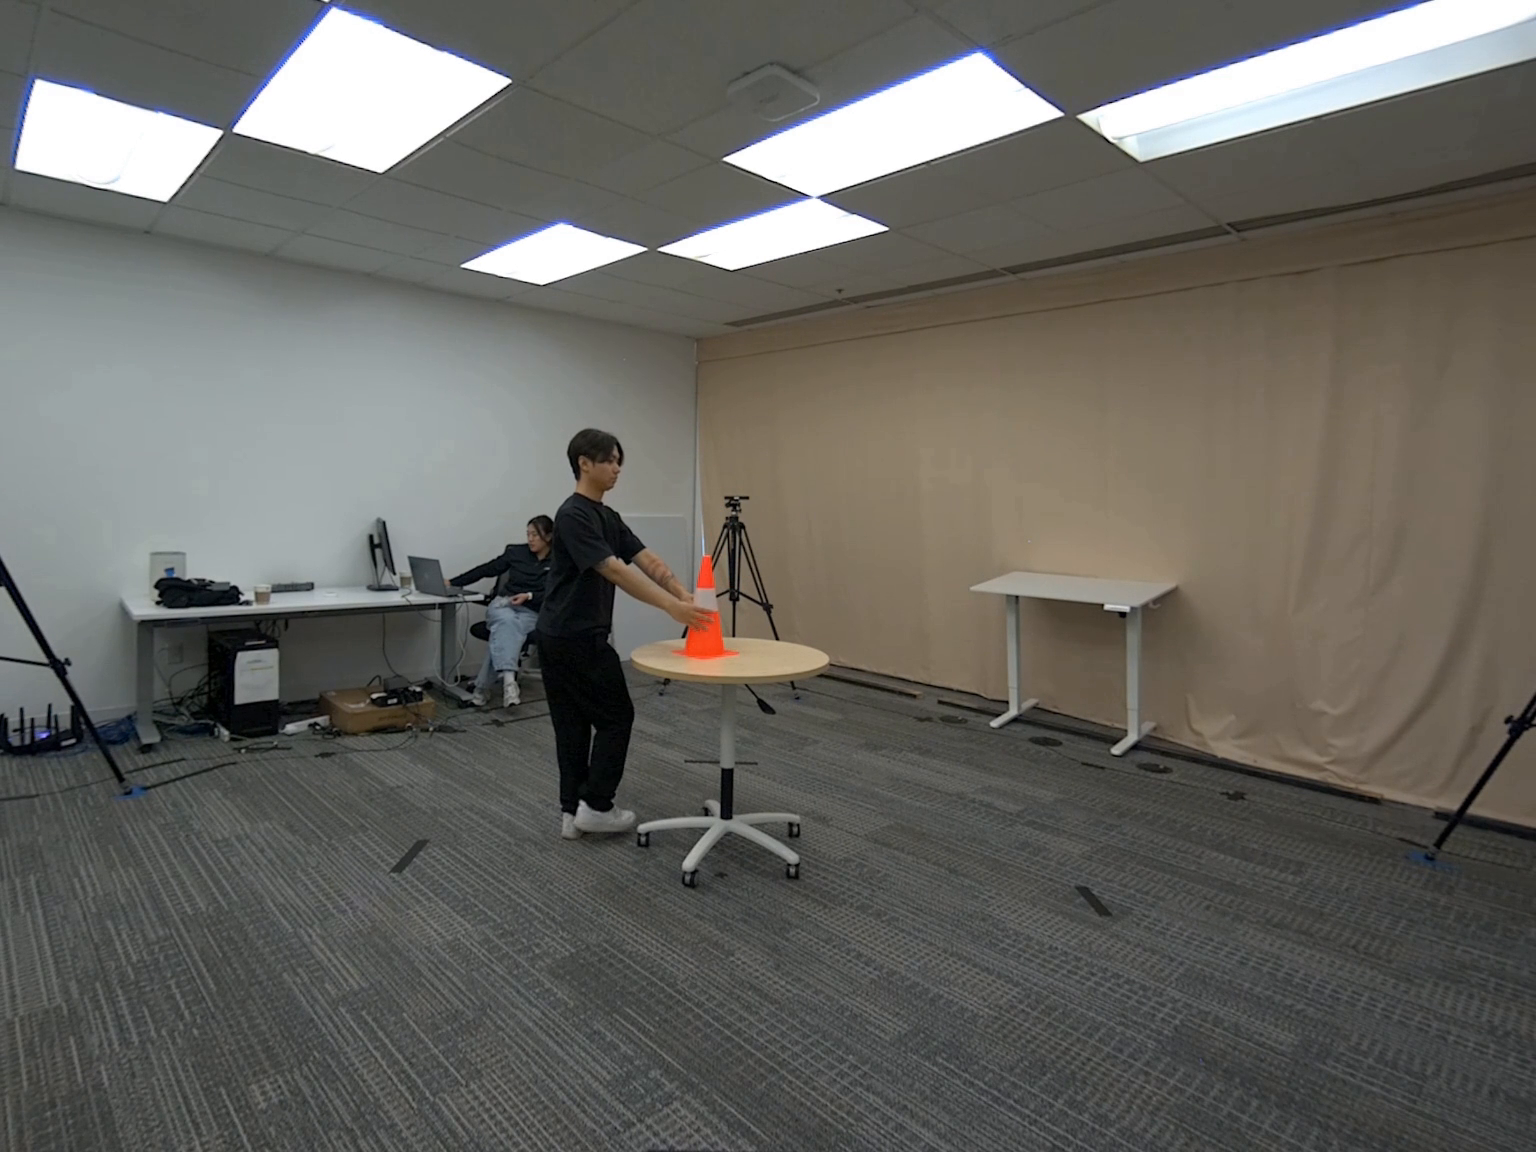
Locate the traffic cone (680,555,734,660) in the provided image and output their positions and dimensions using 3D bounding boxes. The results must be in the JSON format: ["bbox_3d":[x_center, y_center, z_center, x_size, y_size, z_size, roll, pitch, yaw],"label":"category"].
[{"bbox_3d":[-0.248,0.112,3.277,0.200,0.383,0.208,0,3,-44],"label":"traffic cone"}]
